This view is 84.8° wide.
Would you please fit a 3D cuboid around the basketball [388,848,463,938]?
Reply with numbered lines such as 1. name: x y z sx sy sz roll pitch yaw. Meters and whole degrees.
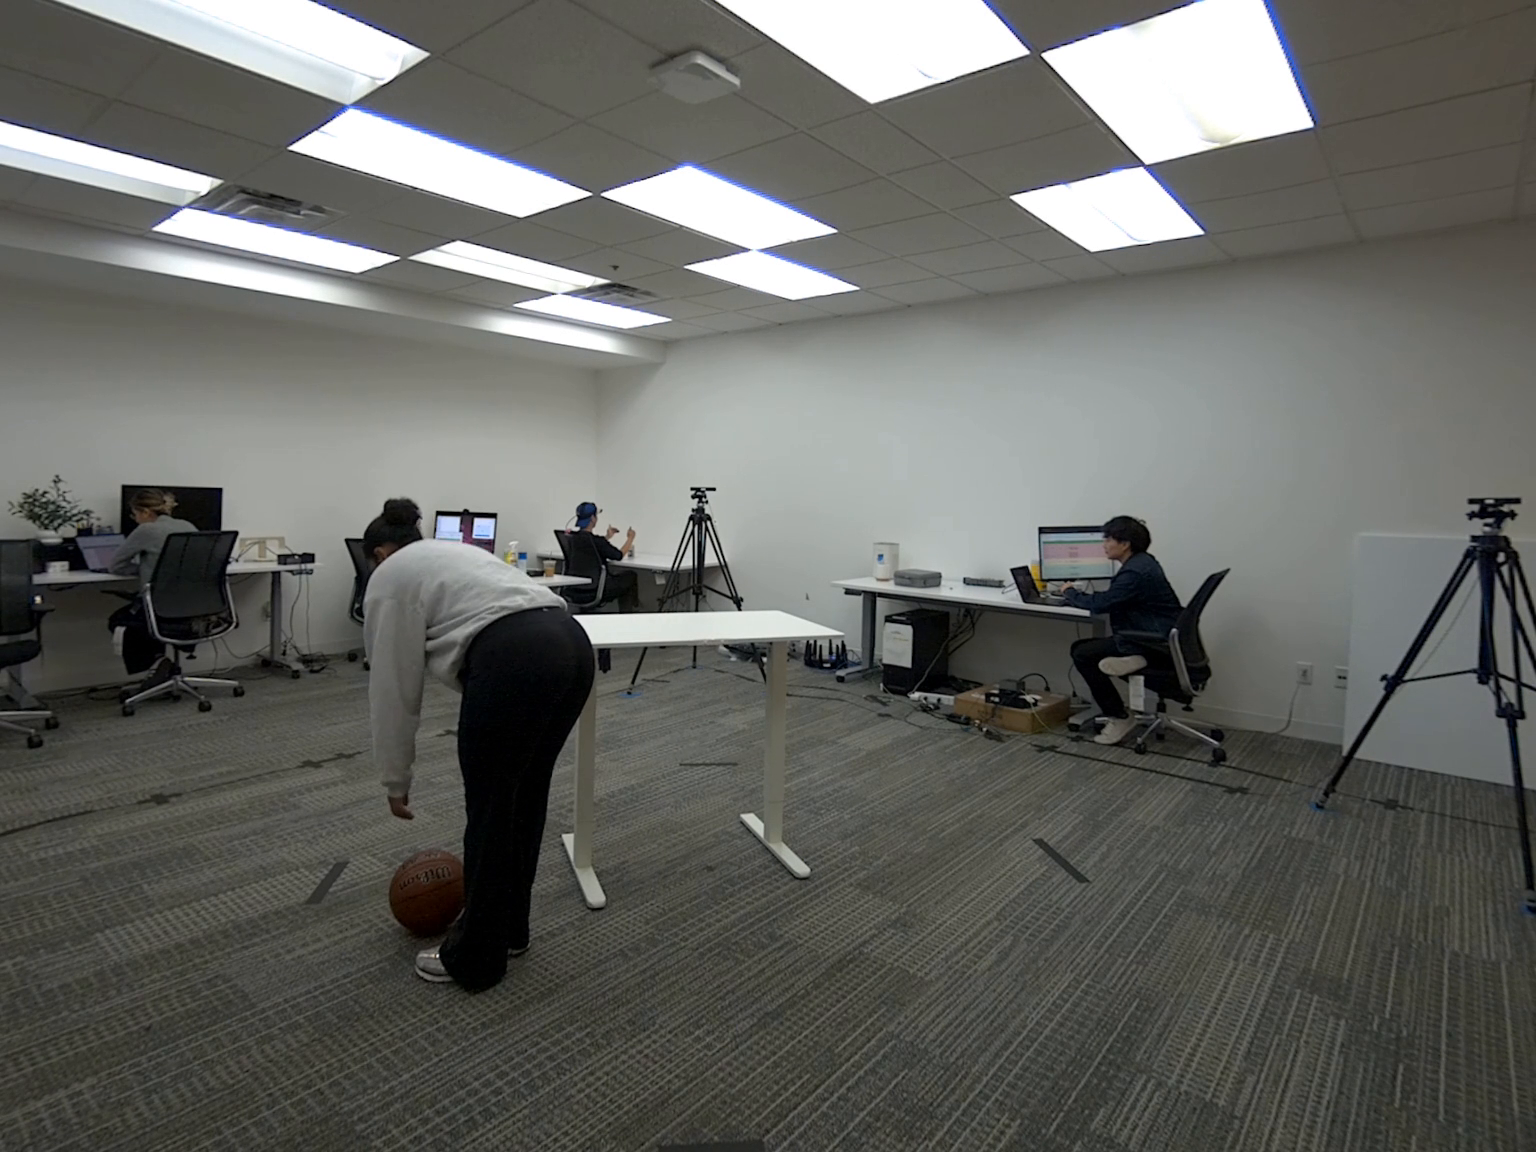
1. basketball: -1.066 0.980 2.653 0.235 0.235 0.237 1 4 -2
